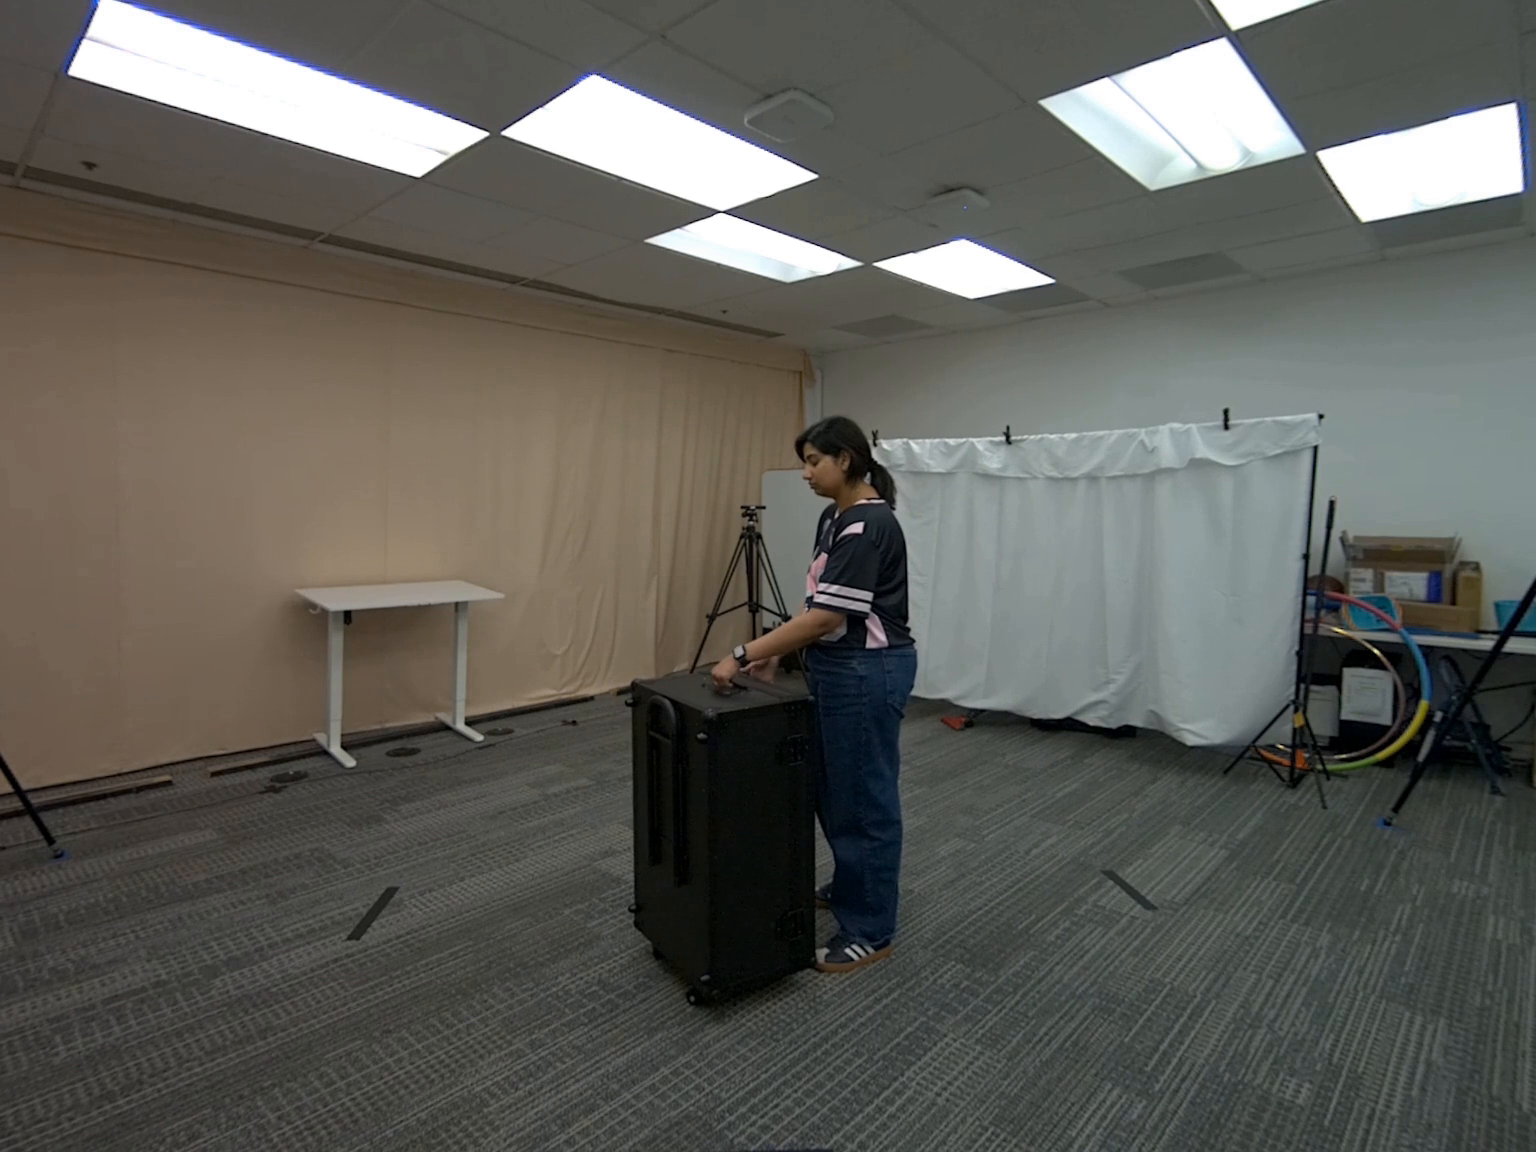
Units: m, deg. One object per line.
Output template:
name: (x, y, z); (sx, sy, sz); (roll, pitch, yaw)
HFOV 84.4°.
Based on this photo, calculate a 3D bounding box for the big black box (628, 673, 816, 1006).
big black box: (-0.142, 0.765, 2.501); (0.374, 0.867, 0.539); (-2, 4, -33)
